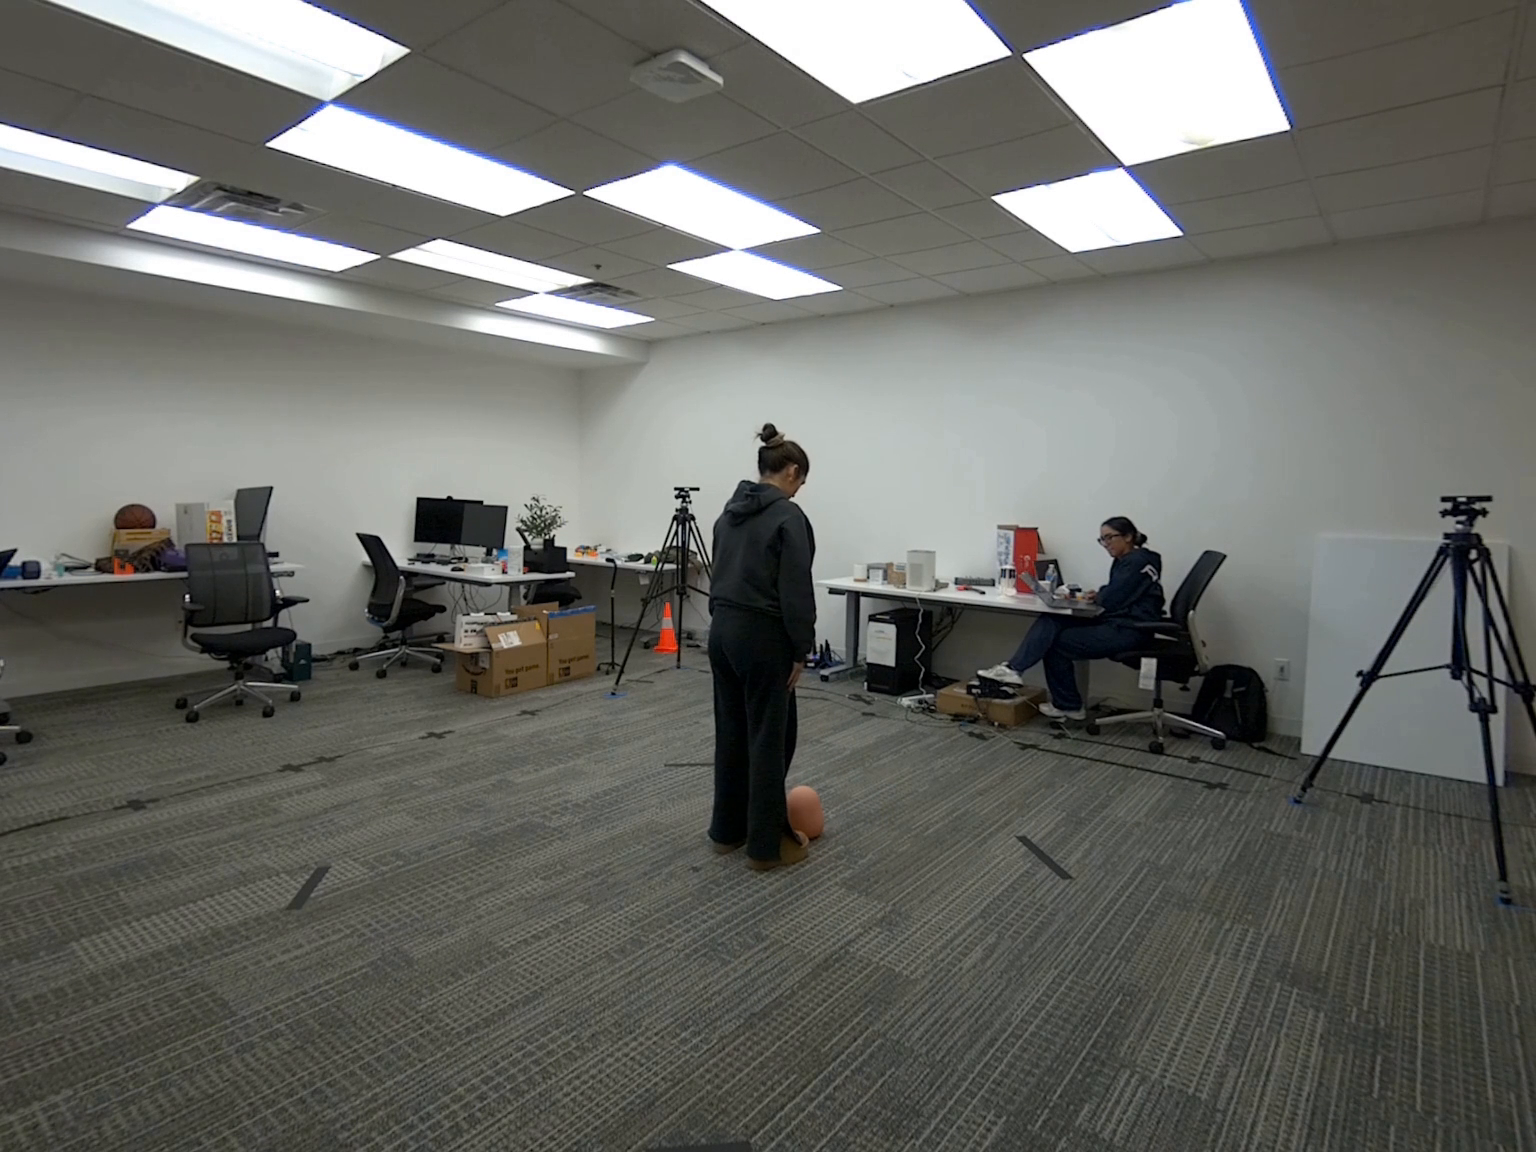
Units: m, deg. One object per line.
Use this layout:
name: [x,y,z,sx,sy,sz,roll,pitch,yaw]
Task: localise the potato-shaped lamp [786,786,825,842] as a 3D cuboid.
potato-shaped lamp: [0.143,0.941,3.430,0.169,0.196,0.168,5,12,29]
